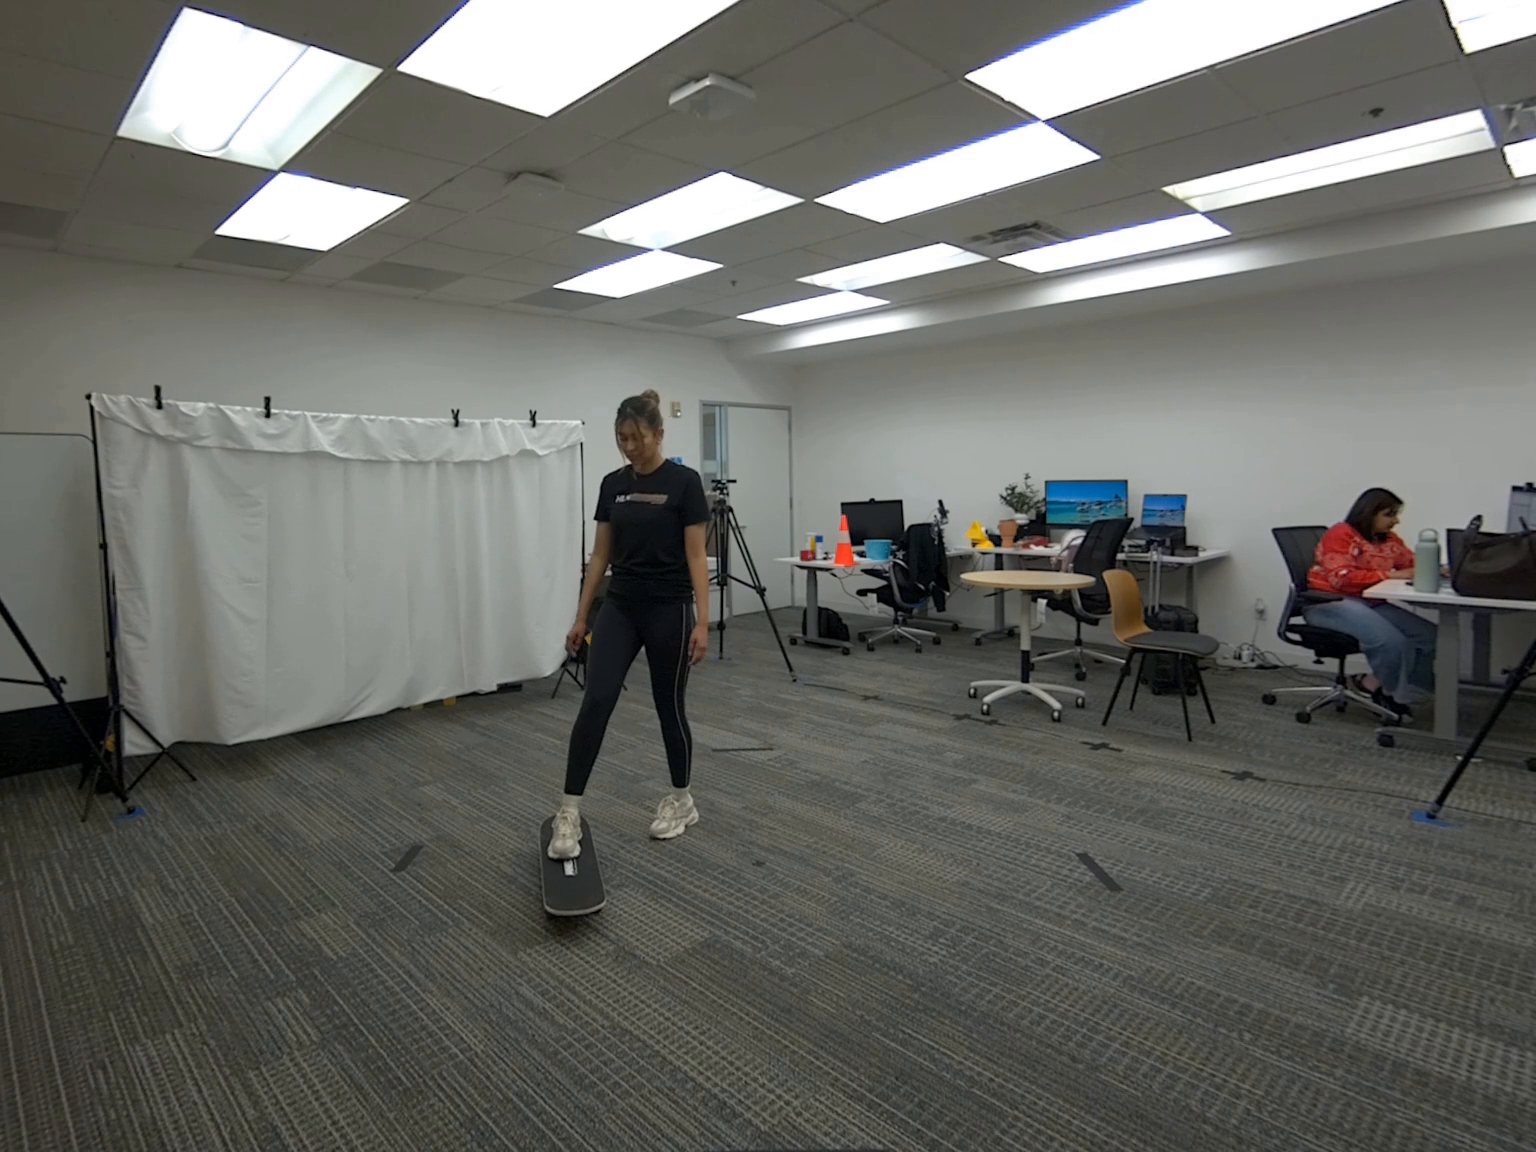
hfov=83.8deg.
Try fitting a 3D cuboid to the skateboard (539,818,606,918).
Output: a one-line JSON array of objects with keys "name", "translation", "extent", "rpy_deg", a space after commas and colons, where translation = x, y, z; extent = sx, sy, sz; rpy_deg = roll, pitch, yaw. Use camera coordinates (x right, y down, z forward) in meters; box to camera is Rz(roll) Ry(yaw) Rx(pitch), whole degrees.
[{"name": "skateboard", "translation": [-0.684, 1.023, 2.969], "extent": [0.191, 0.110, 0.800], "rpy_deg": [-3, 7, -16]}]
